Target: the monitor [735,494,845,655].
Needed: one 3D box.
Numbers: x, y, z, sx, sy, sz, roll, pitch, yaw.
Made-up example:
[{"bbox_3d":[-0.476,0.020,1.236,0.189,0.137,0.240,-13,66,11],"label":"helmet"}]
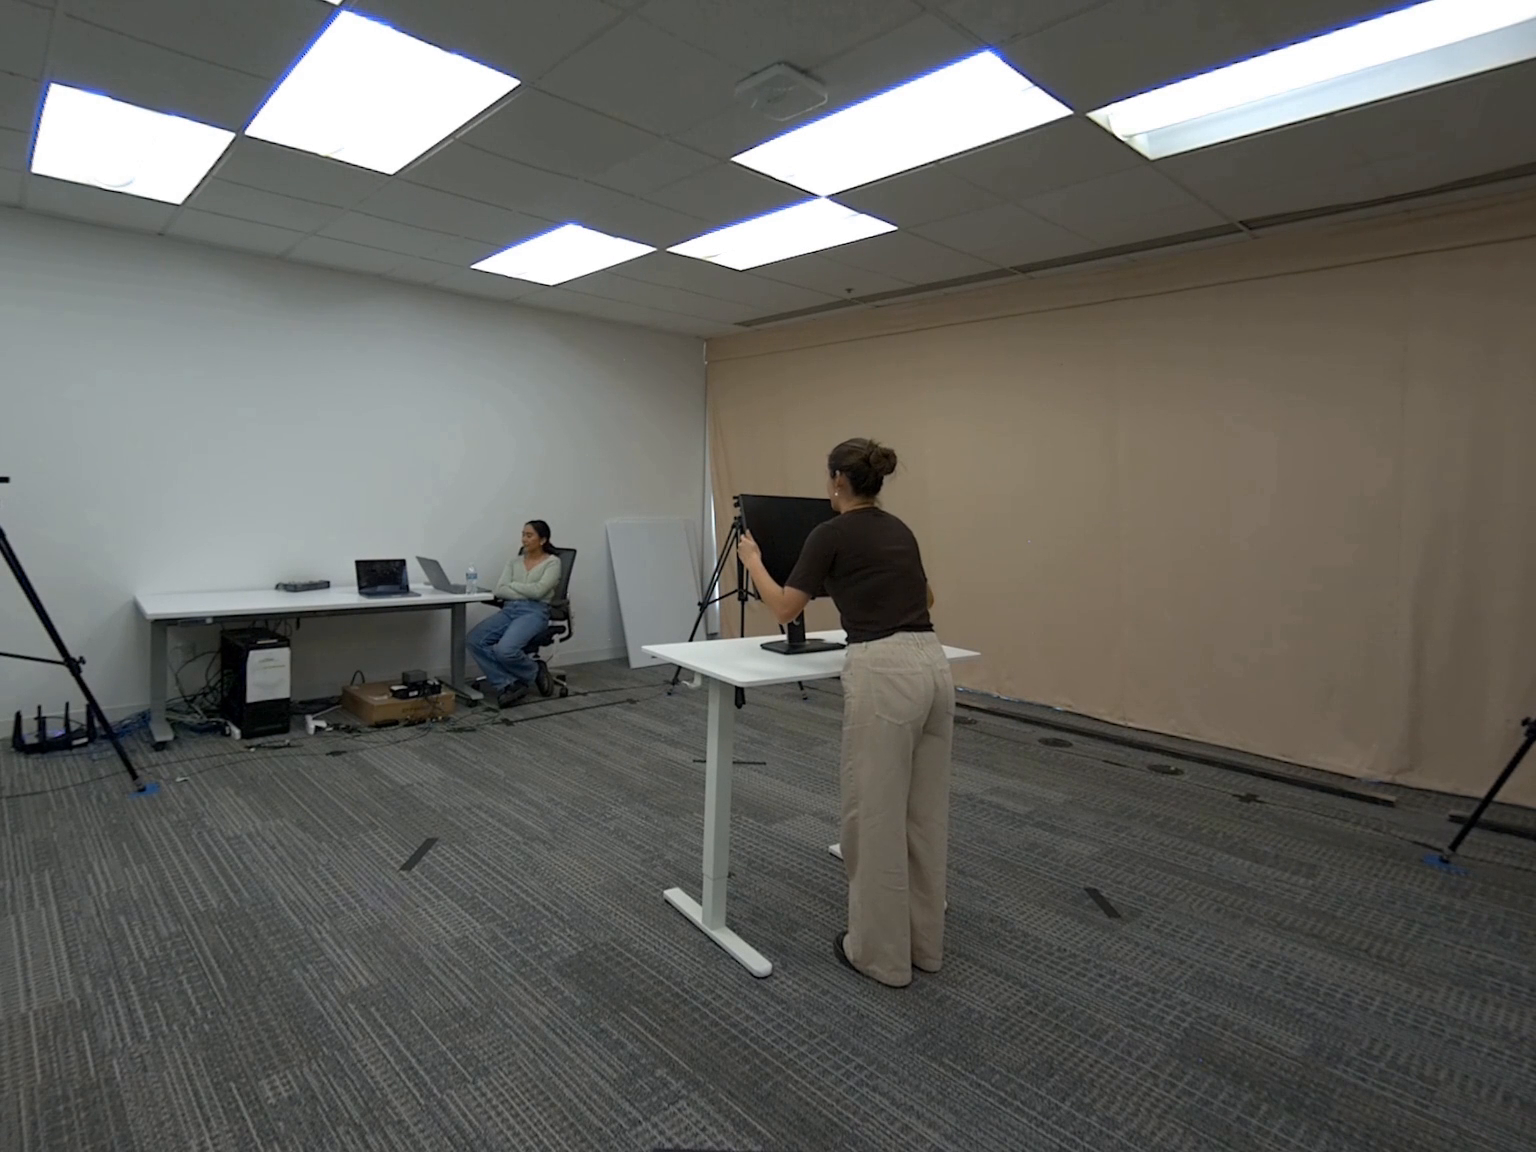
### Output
[{"bbox_3d":[0.109,-0.006,2.873,0.527,0.523,0.191,-1,0,-40],"label":"monitor"}]
